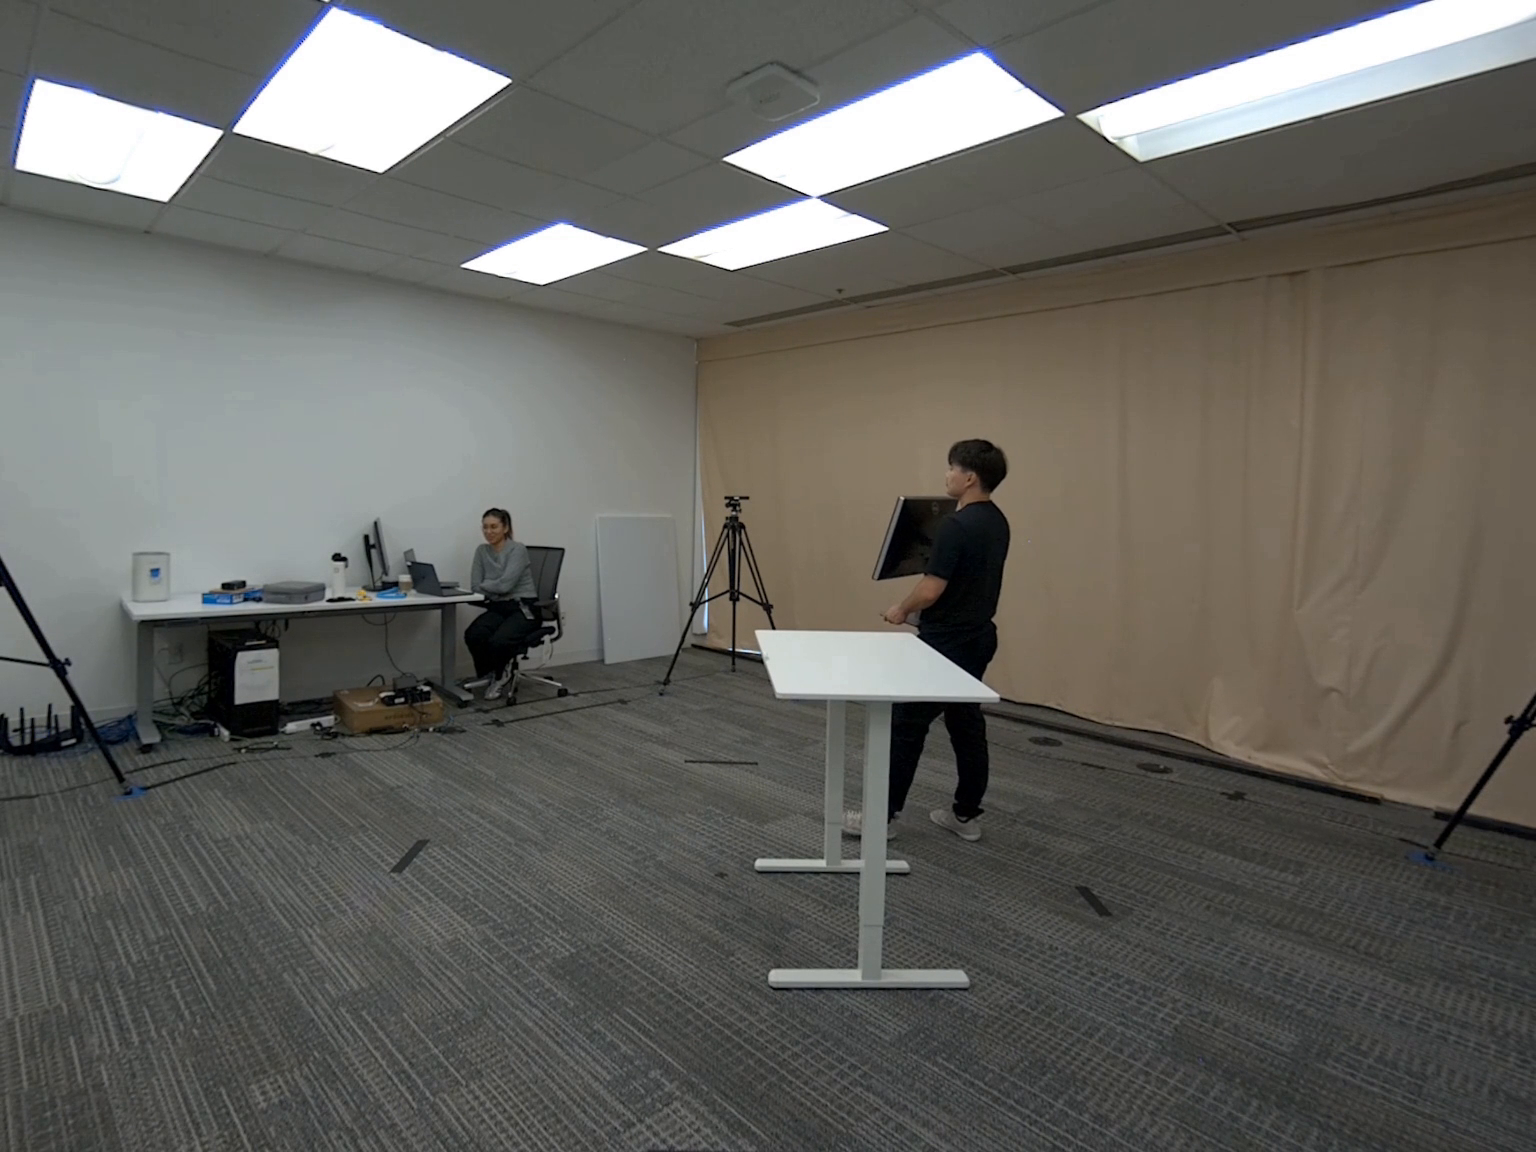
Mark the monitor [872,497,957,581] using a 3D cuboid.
[{"bbox_3d":[0.645,-0.079,3.624,0.192,0.520,0.528,12,10,33],"label":"monitor"}]
